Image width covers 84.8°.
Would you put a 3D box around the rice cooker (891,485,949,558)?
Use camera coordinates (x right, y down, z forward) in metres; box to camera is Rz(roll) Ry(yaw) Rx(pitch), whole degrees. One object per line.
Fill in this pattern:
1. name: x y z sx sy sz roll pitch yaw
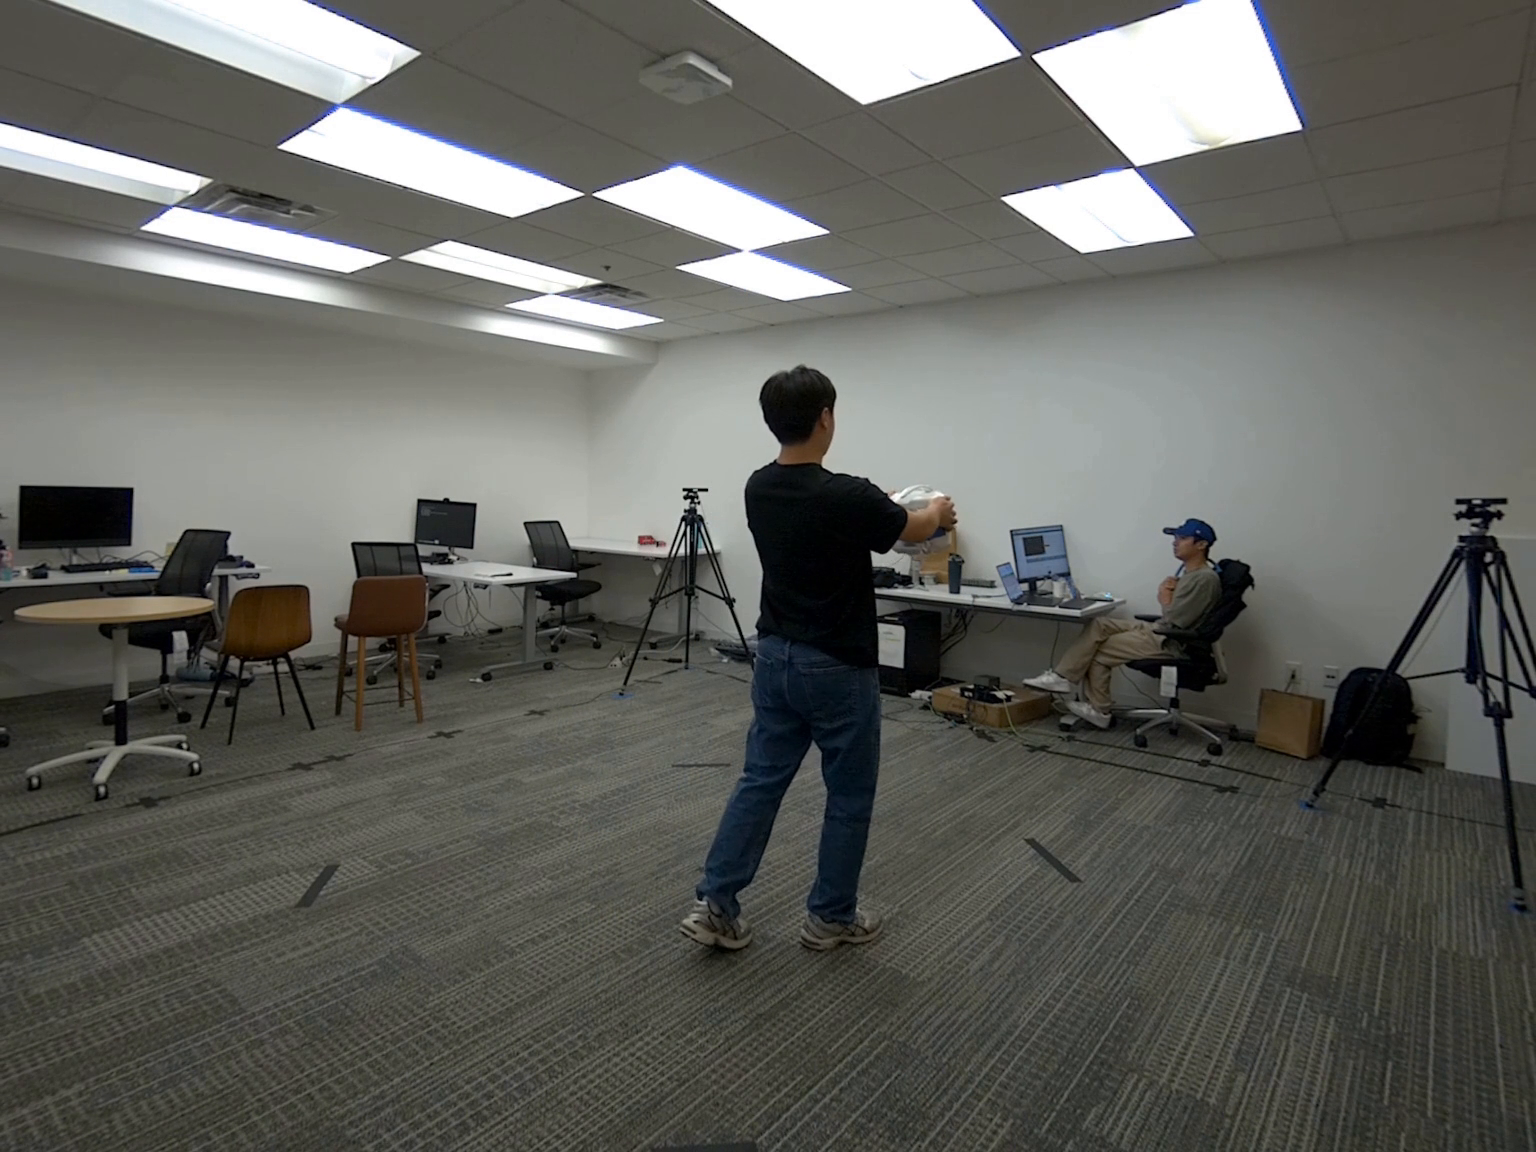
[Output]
1. rice cooker: 0.512 -0.201 2.941 0.215 0.231 0.225 -9 8 -42
